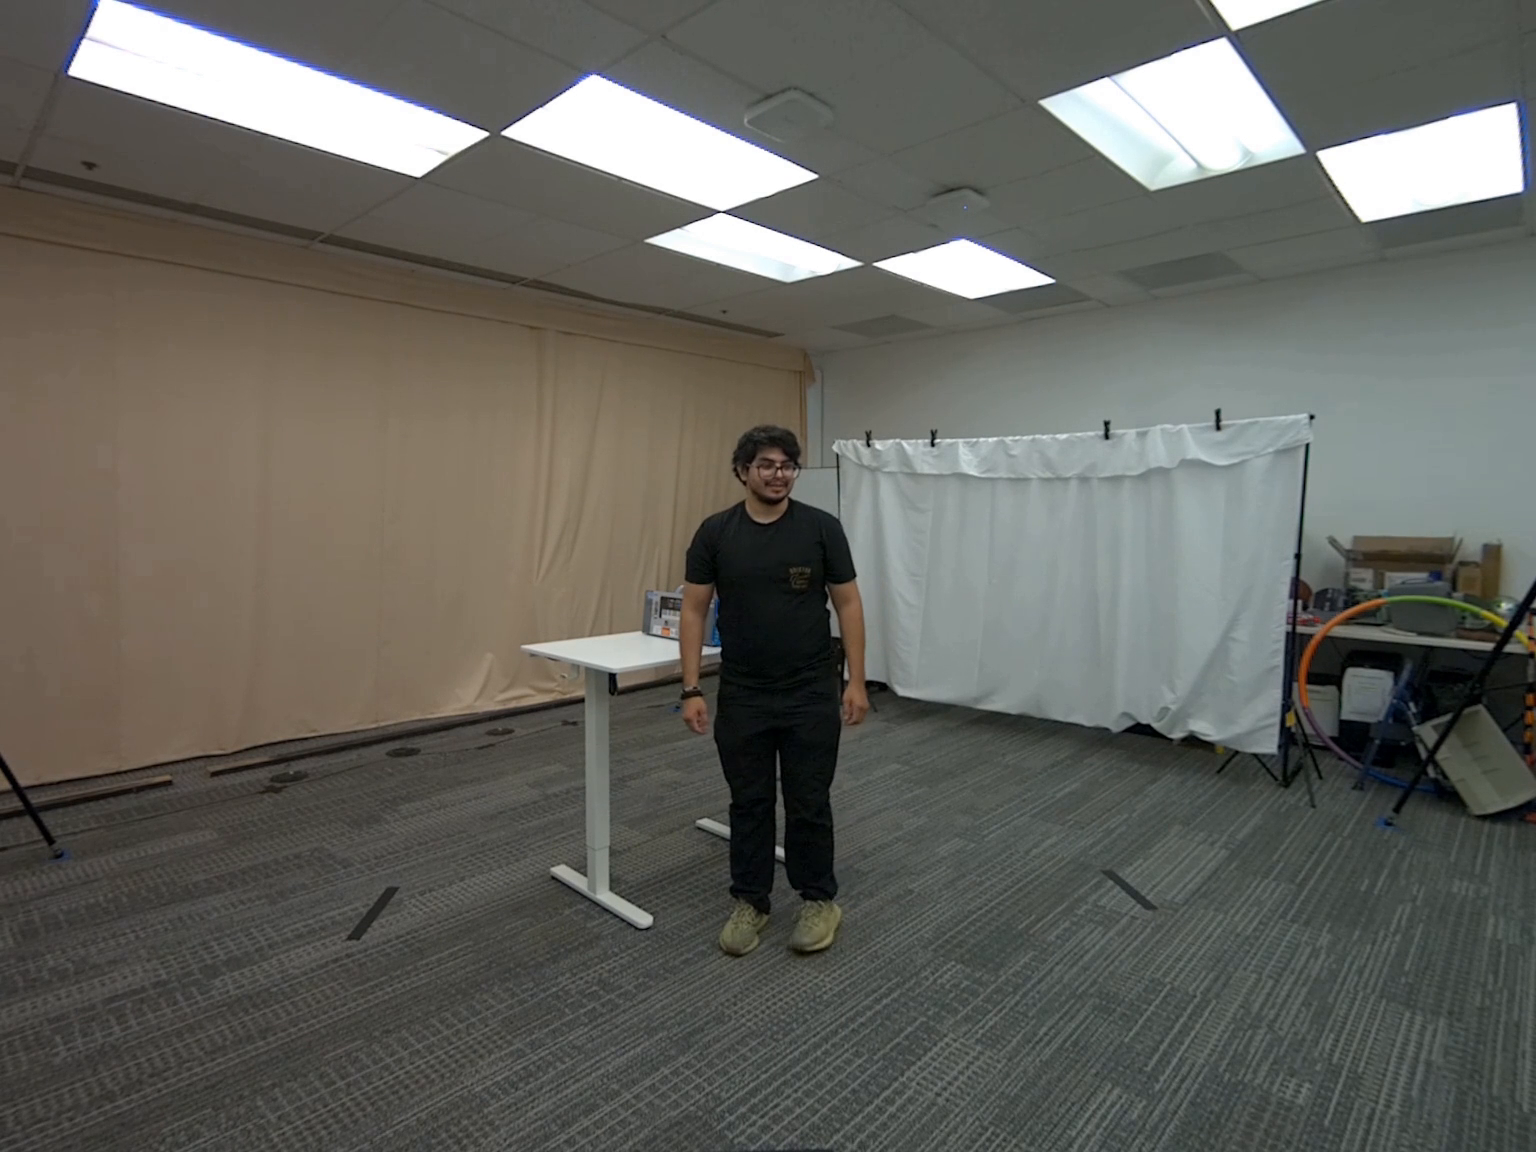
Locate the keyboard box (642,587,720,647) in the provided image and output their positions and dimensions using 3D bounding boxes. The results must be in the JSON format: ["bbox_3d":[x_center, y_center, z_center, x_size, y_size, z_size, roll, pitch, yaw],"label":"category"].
[{"bbox_3d":[-0.323,0.158,3.217,0.057,0.176,0.451,6,-2,-43],"label":"keyboard box"}]
